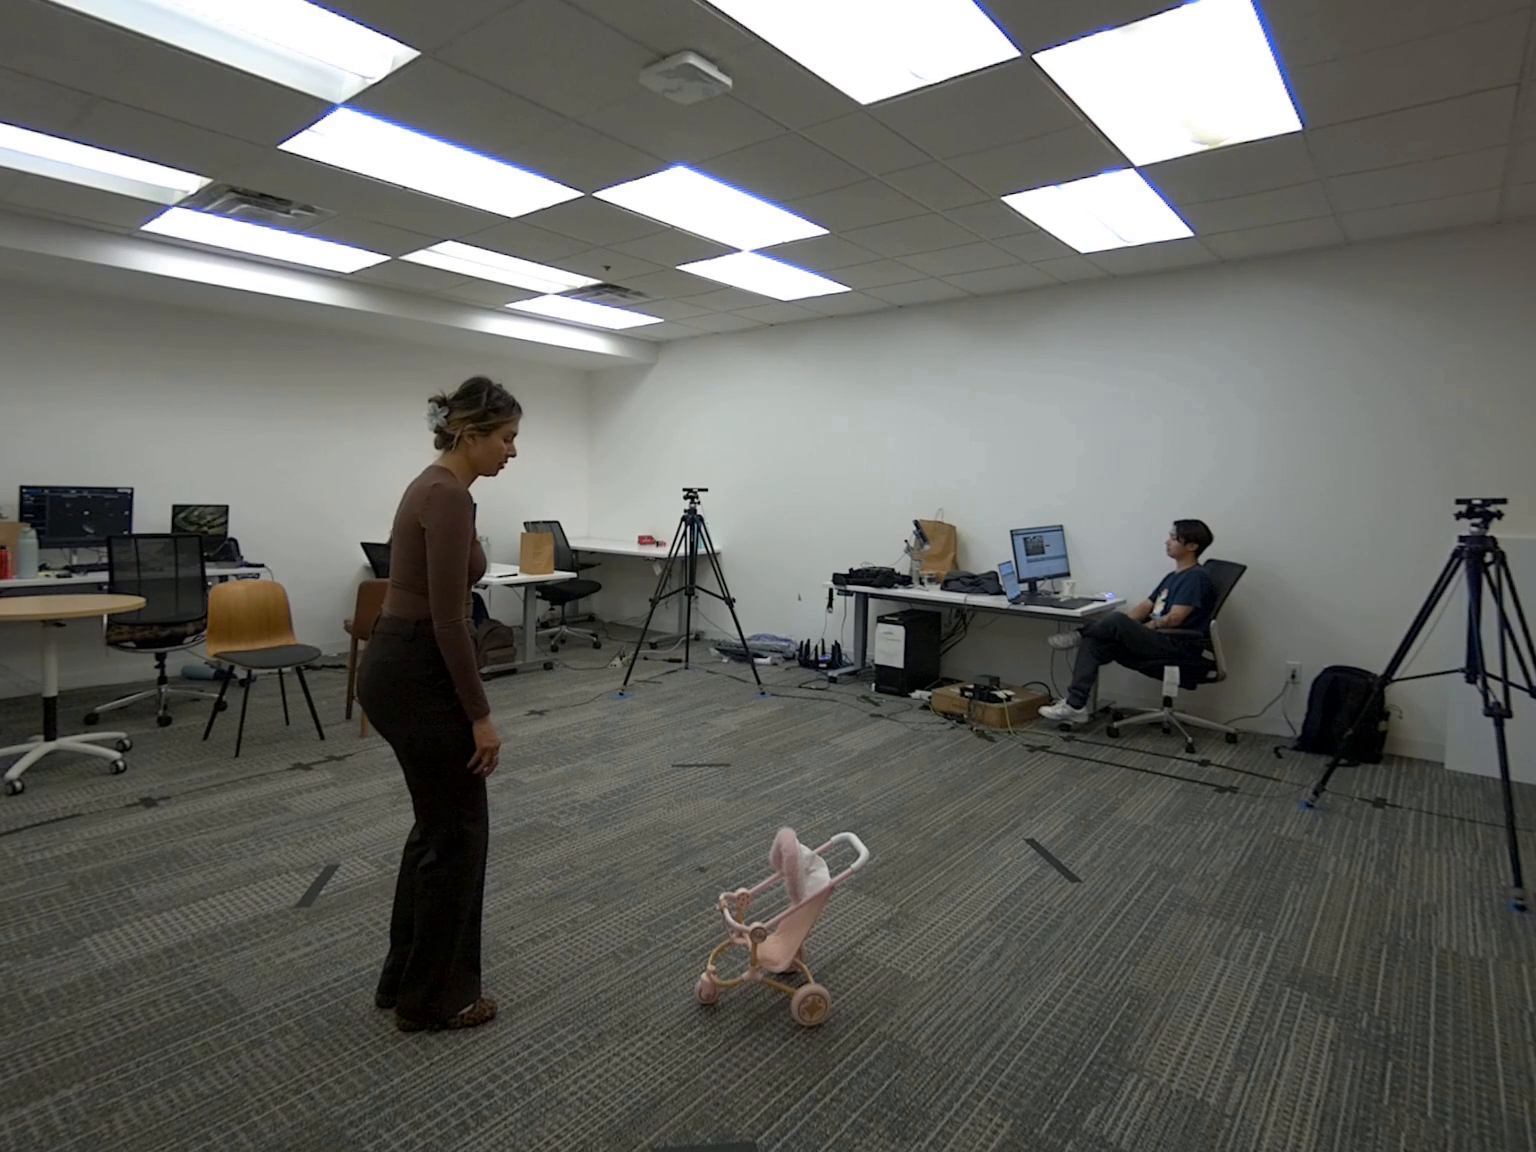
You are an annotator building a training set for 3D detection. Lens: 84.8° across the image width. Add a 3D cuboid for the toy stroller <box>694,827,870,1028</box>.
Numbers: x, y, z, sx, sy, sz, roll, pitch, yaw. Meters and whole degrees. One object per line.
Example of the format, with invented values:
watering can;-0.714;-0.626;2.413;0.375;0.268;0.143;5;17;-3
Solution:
toy stroller;0.017;0.928;2.315;0.338;0.535;0.284;18;1;-8
